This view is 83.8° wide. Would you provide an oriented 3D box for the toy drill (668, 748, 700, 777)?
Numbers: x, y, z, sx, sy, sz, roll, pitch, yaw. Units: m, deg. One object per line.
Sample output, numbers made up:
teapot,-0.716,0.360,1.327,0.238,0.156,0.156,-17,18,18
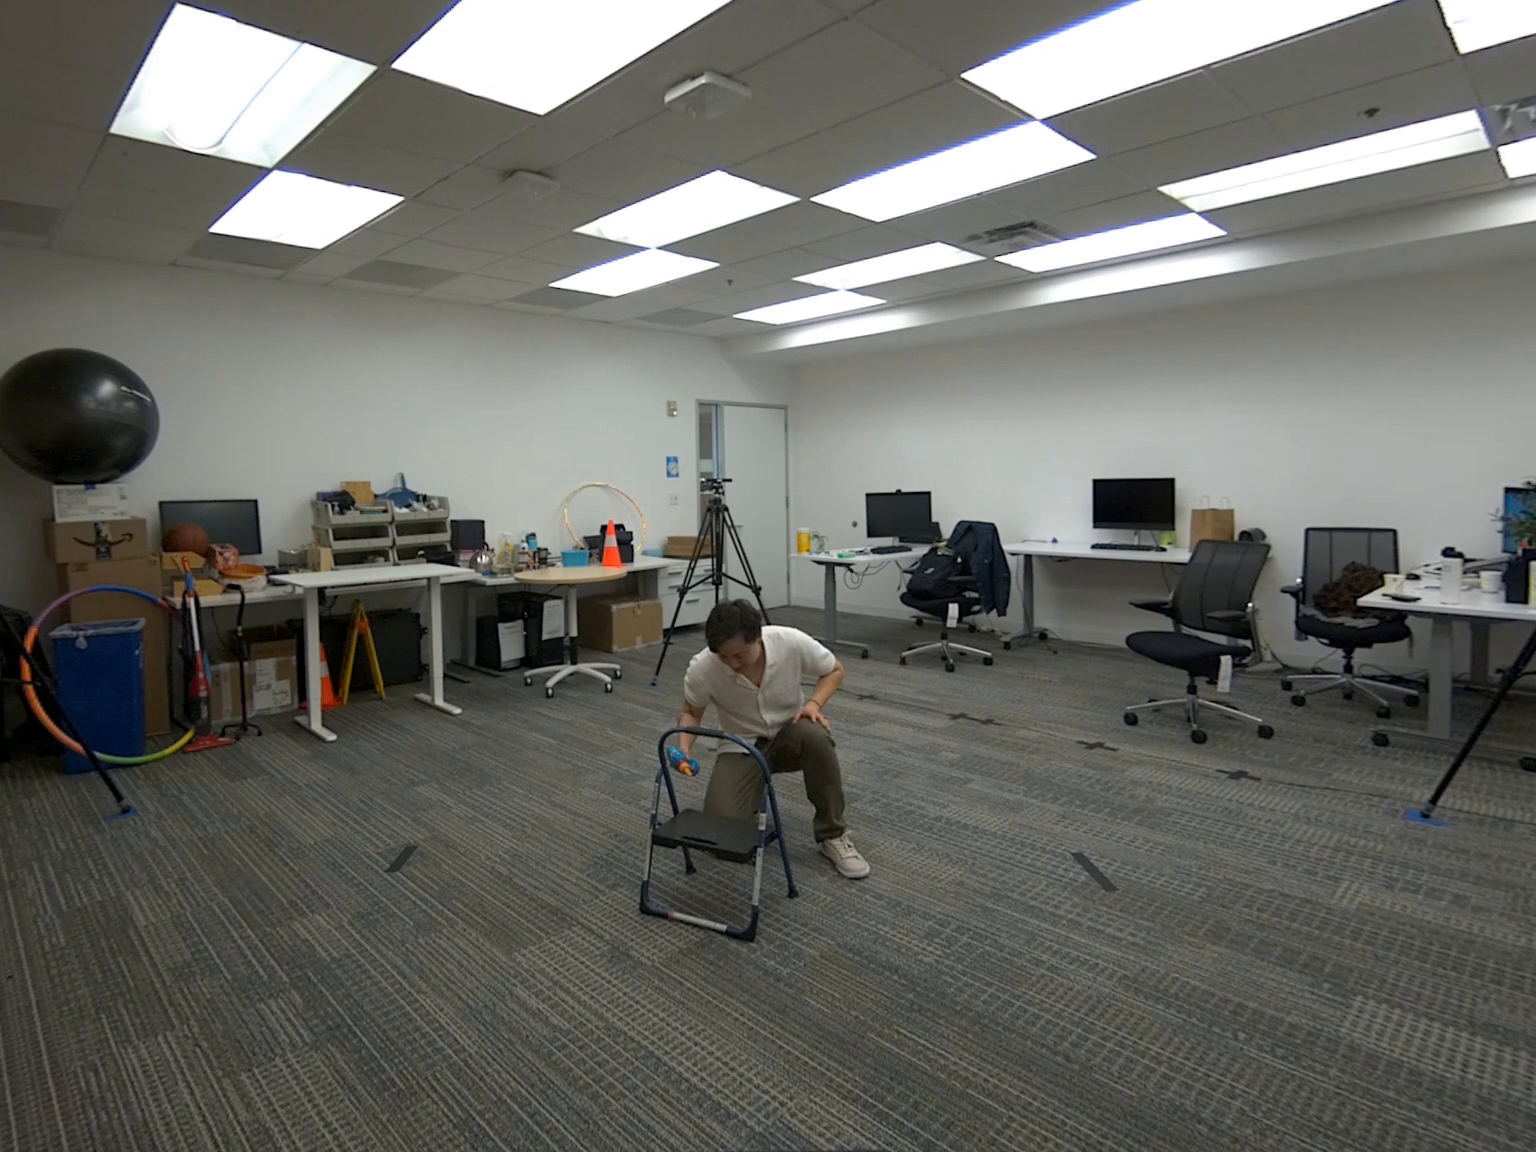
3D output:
toy drill,-0.300,0.697,3.092,0.140,0.061,0.176,44,-2,-37
